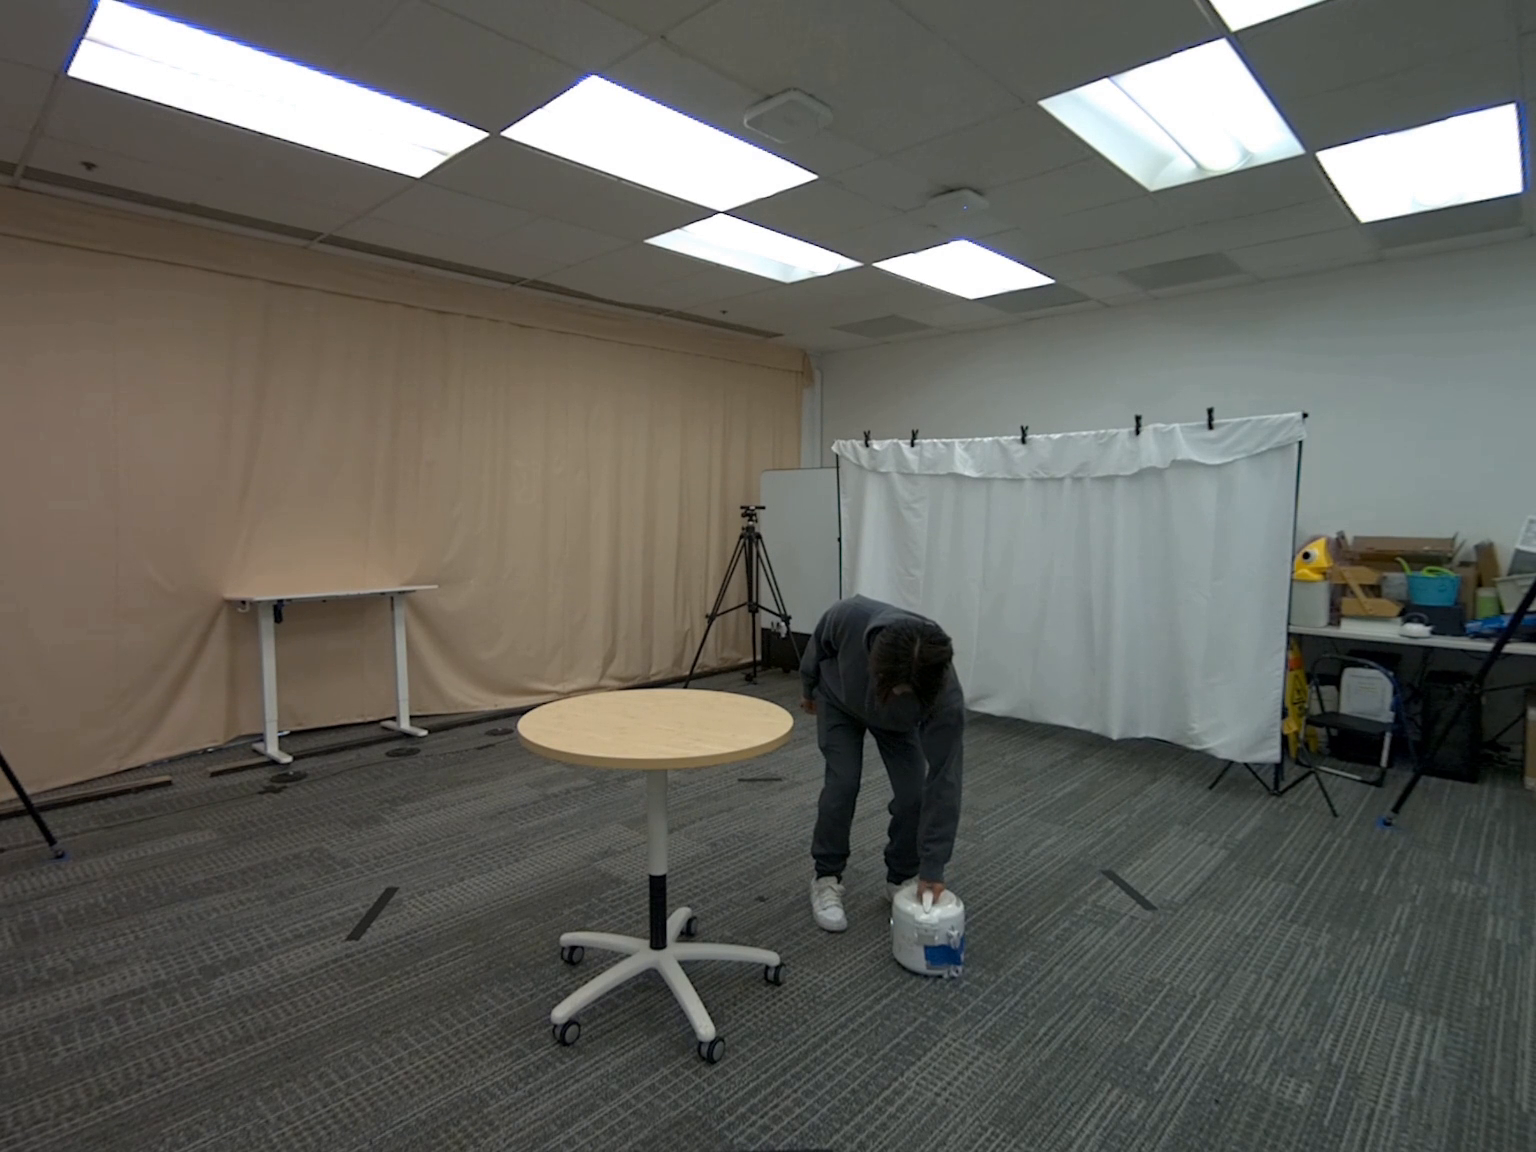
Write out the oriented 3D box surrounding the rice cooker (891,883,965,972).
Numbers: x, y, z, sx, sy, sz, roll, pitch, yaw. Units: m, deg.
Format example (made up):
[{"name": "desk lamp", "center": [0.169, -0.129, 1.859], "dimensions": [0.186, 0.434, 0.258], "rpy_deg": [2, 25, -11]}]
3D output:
[{"name": "rice cooker", "center": [0.485, 1.059, 2.561], "dimensions": [0.221, 0.232, 0.217], "rpy_deg": [1, 4, 17]}]
